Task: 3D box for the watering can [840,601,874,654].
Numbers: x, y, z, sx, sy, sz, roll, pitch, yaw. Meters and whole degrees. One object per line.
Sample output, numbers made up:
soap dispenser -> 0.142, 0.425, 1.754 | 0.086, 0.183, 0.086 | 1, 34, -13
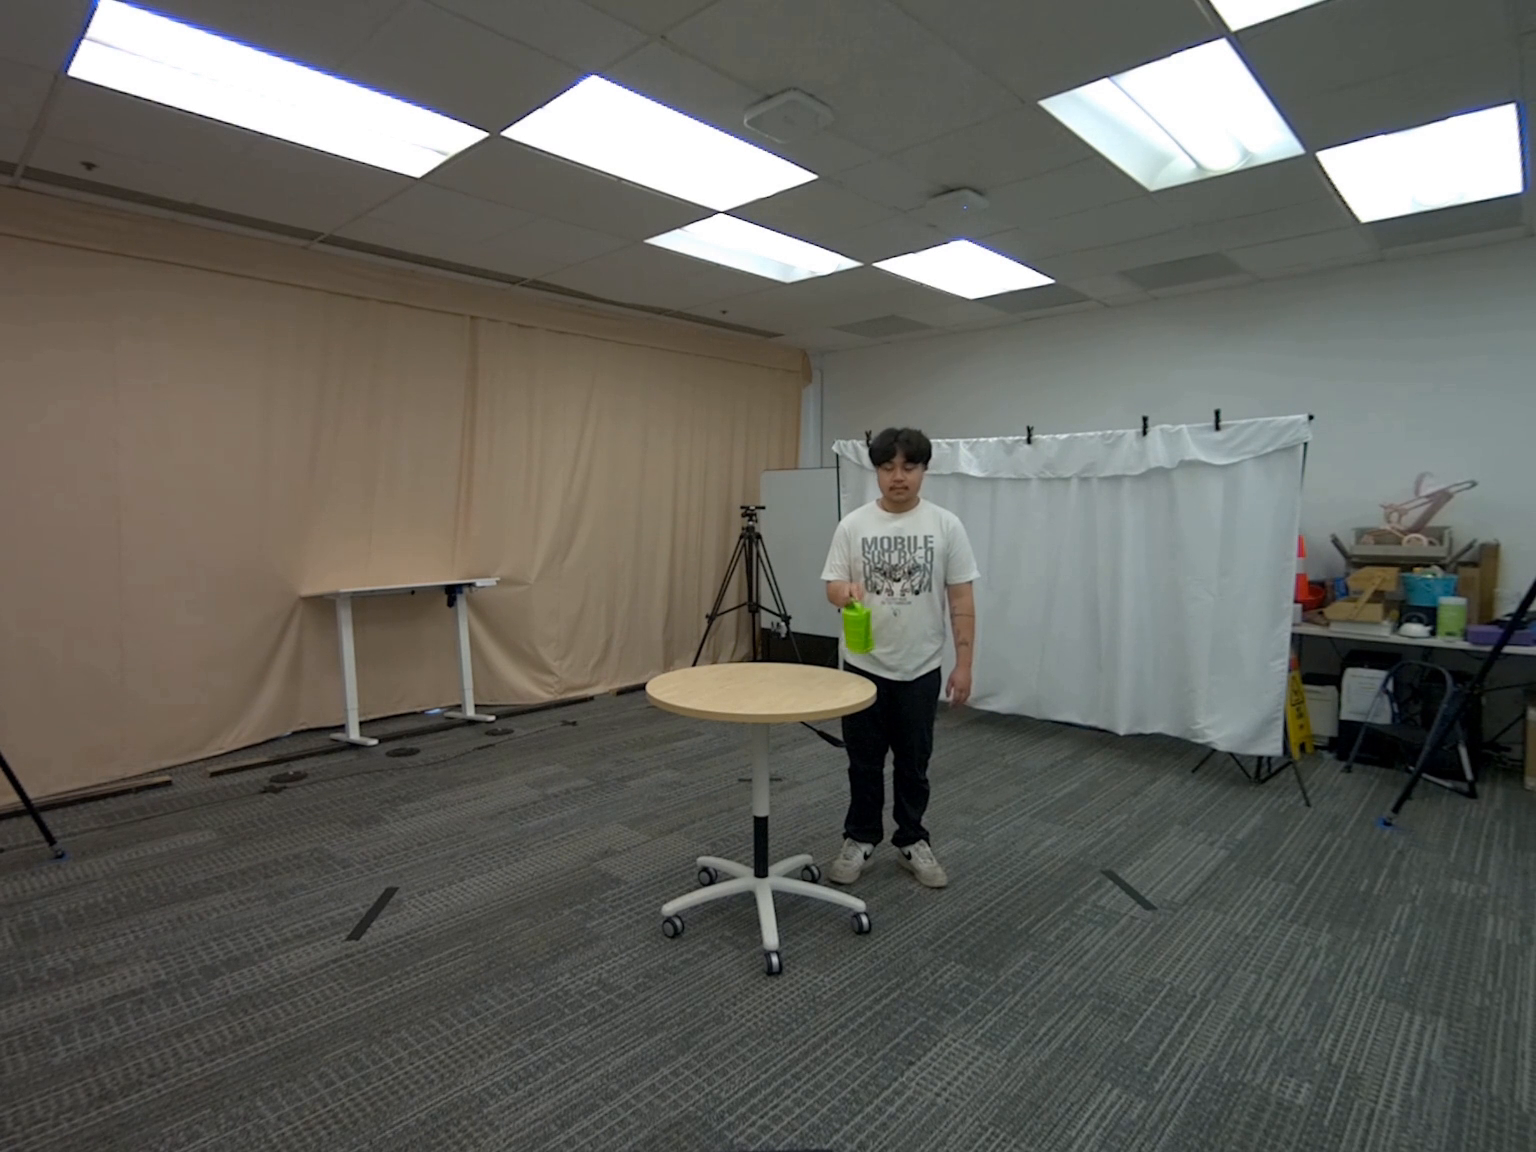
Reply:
watering can -> 0.296, 0.172, 2.784 | 0.098, 0.175, 0.279 | -9, 10, 3
